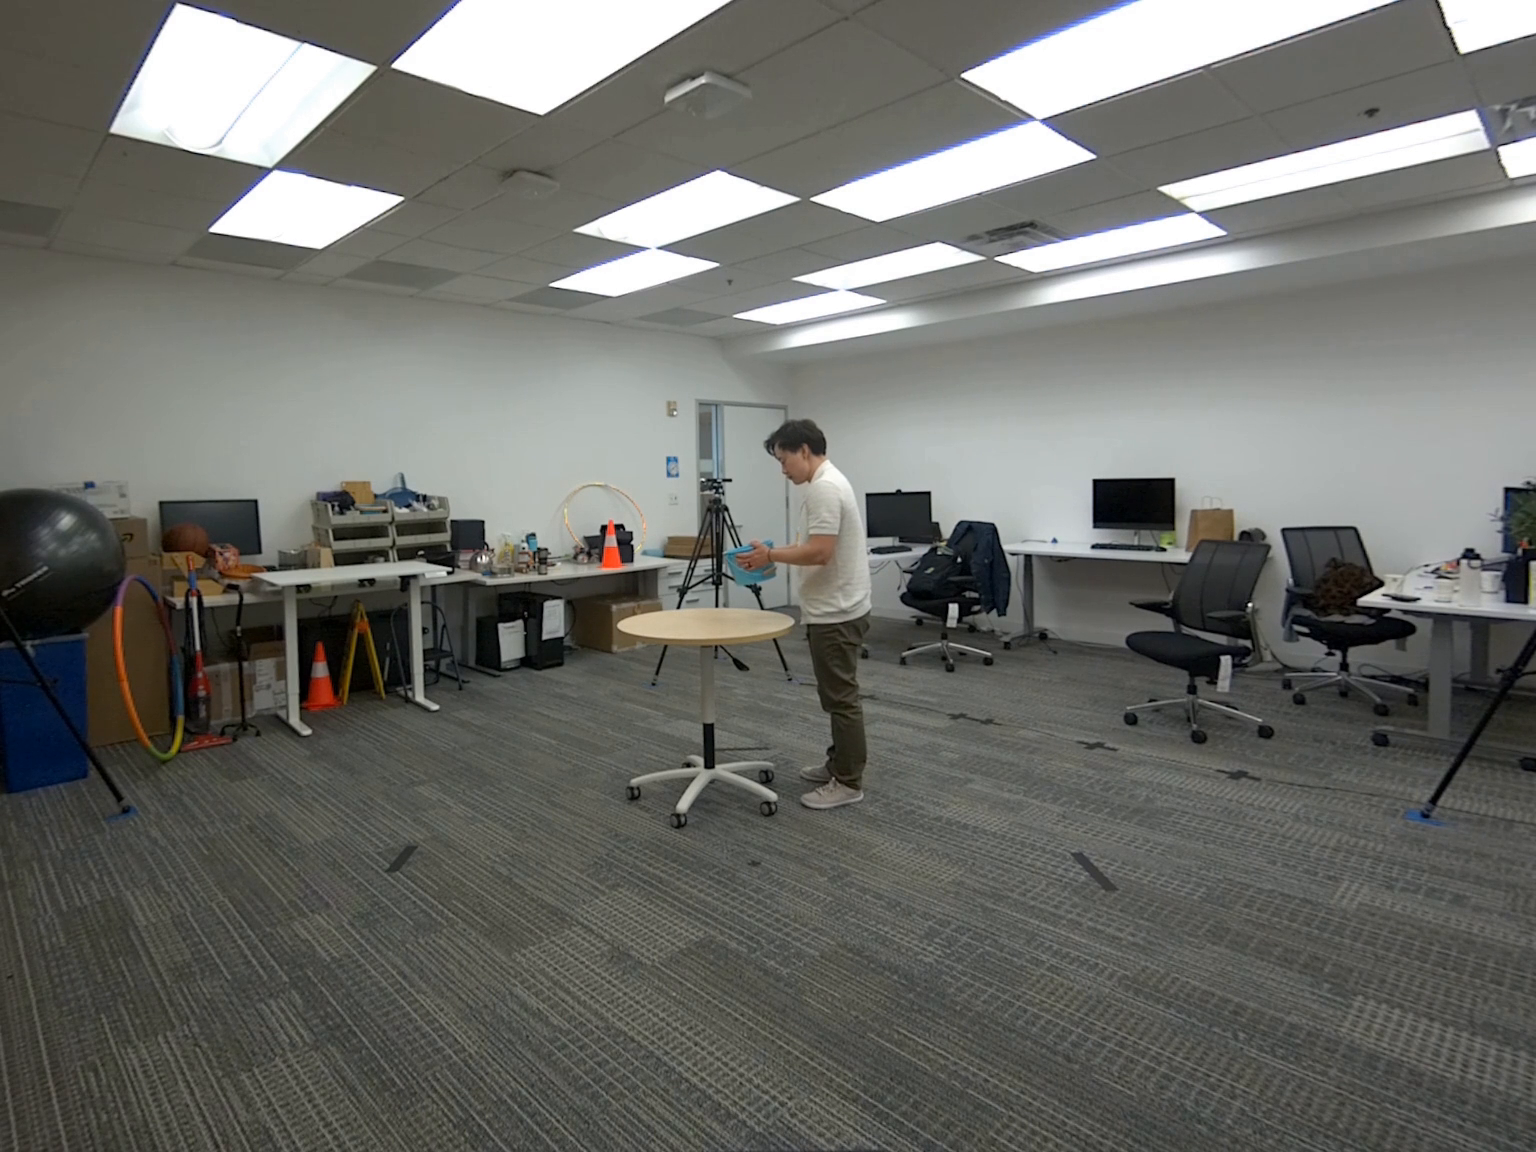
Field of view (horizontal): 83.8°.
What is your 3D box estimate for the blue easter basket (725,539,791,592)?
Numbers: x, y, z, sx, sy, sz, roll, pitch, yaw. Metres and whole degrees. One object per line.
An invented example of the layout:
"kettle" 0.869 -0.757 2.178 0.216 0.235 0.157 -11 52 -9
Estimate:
"blue easter basket" -0.050 -0.053 3.739 0.243 0.155 0.244 -14 4 -1
